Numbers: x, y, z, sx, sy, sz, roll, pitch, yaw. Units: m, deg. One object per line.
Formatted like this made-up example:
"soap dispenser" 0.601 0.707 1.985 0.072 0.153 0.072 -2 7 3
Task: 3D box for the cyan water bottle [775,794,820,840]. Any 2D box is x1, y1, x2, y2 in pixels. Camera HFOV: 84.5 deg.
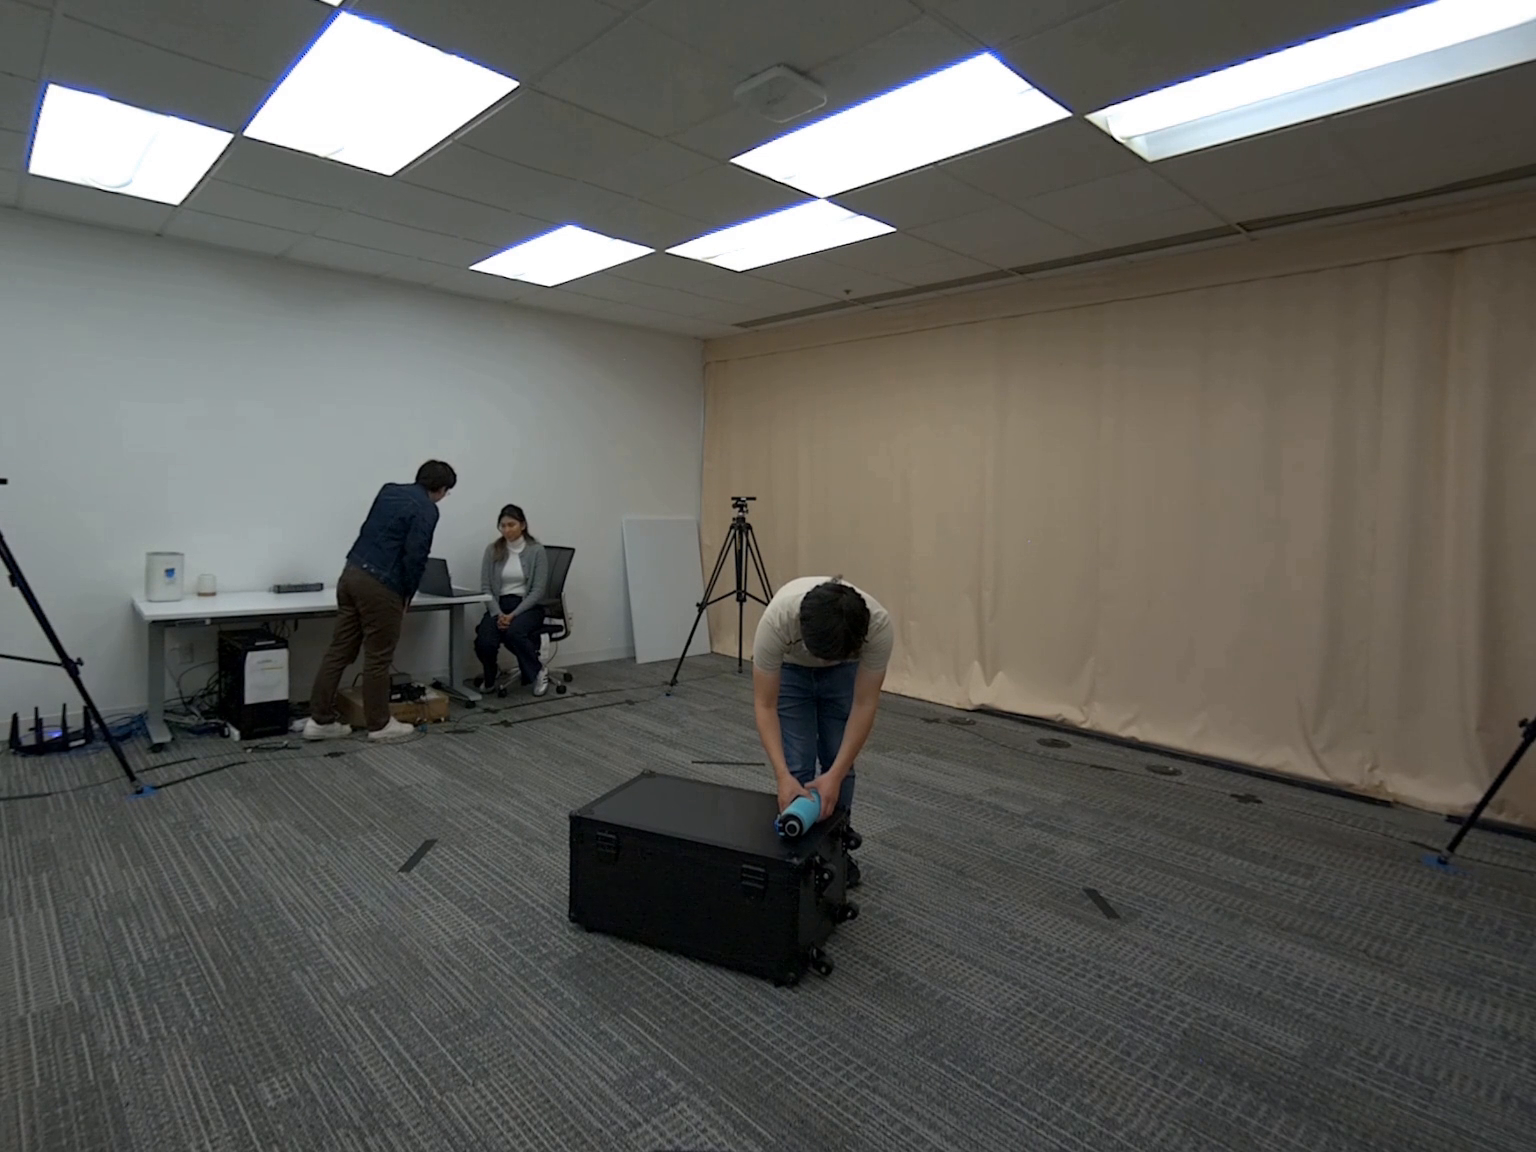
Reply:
"cyan water bottle" 0.088 0.741 2.605 0.094 0.092 0.279 3 5 19
